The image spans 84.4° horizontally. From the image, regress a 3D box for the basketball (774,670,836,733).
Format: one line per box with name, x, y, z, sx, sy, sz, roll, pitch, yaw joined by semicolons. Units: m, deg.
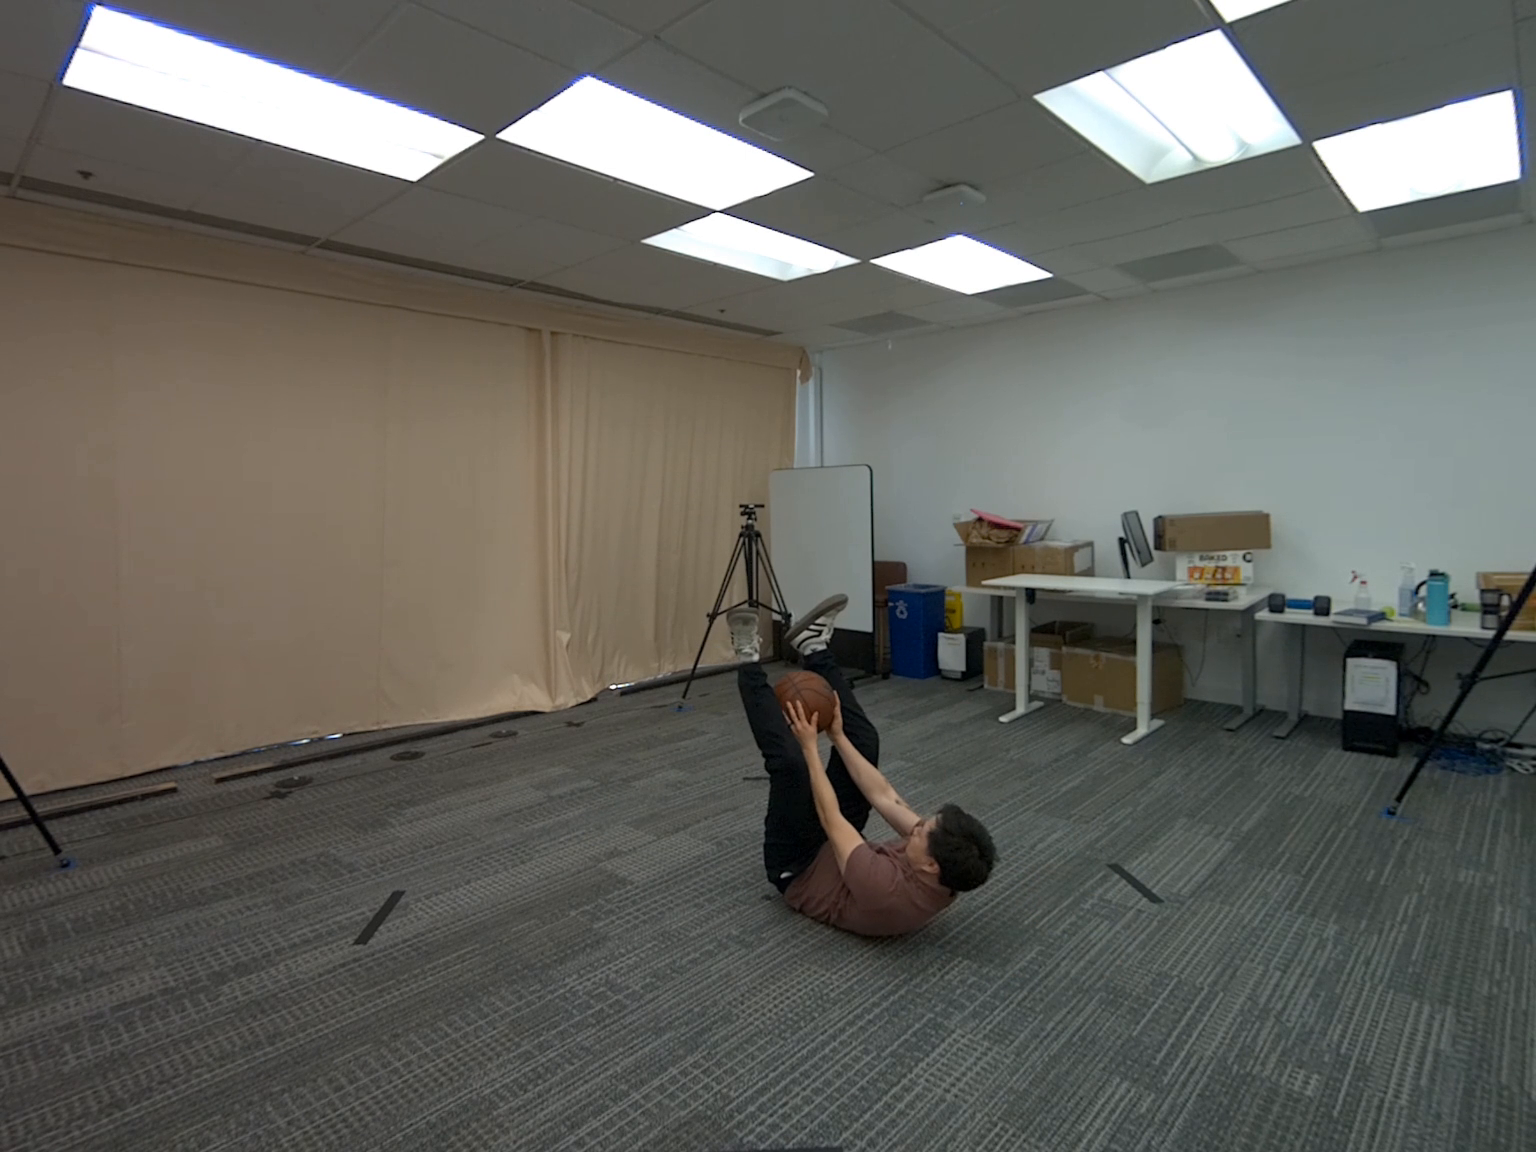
basketball;0.123;0.459;2.992;0.236;0.235;0.236;-1;3;-2
